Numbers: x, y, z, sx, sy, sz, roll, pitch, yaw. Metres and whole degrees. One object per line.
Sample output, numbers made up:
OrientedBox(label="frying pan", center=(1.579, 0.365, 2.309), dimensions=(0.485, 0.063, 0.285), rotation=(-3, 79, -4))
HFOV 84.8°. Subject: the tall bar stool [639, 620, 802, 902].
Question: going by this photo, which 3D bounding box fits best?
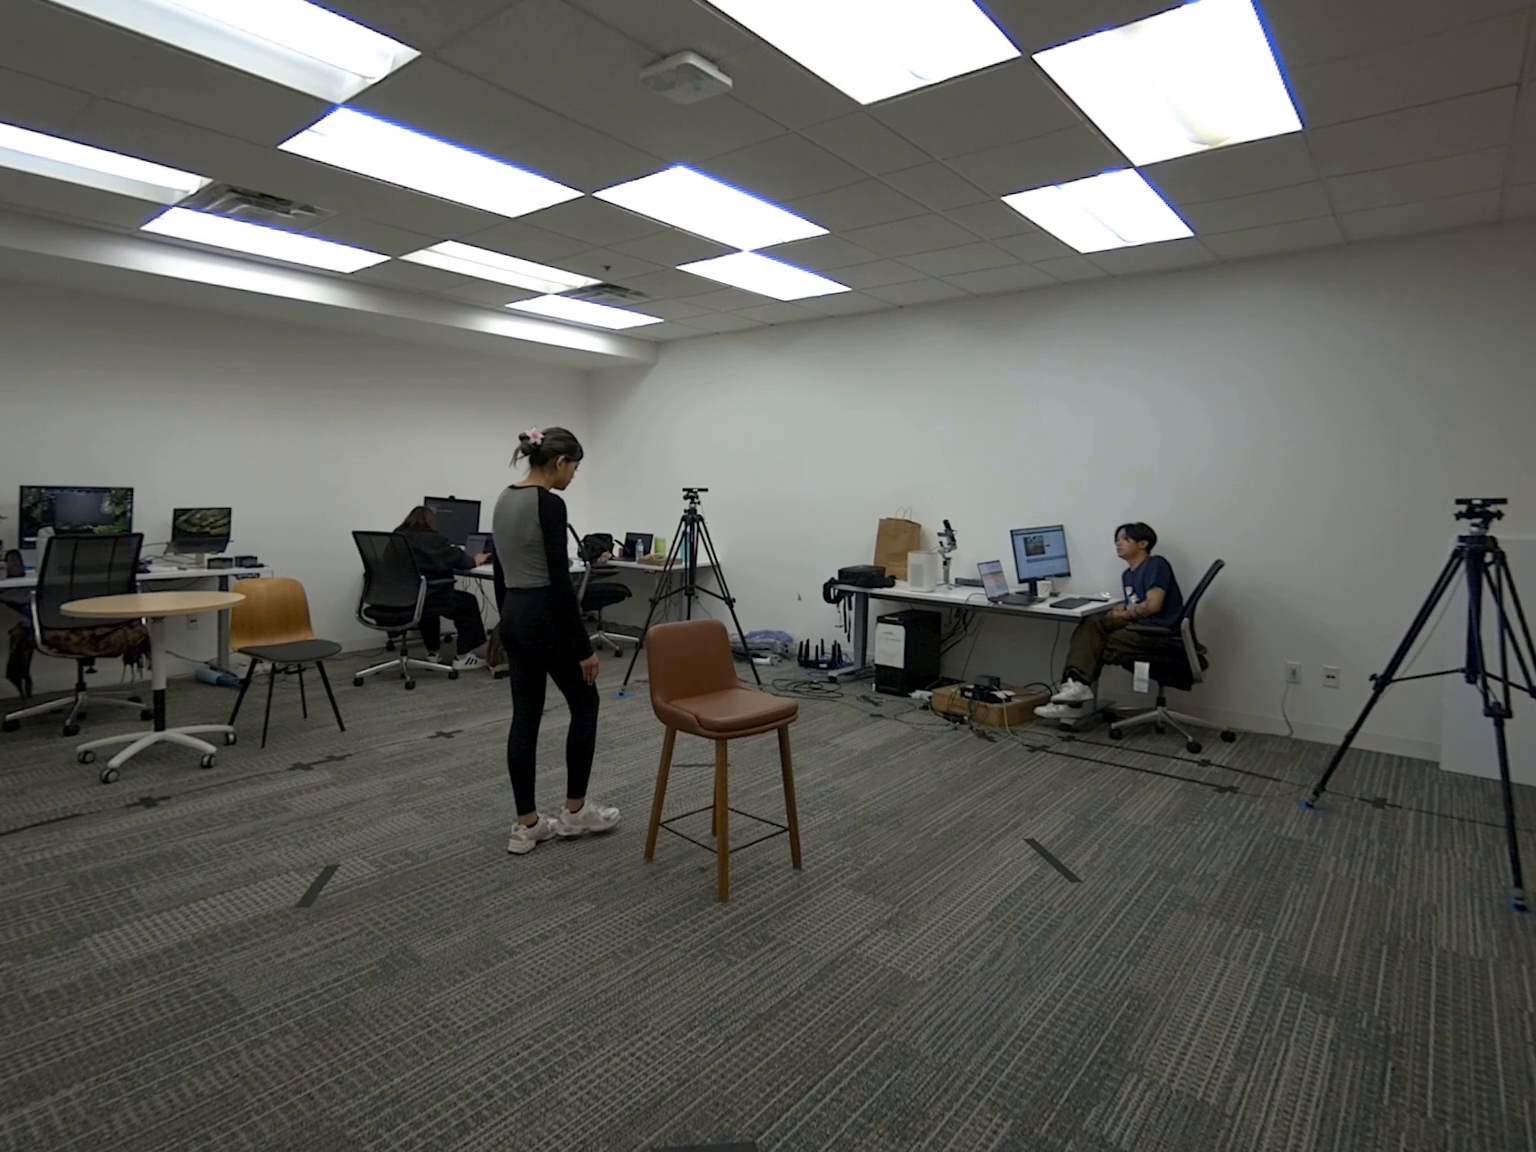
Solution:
OrientedBox(label="tall bar stool", center=(-0.181, 0.630, 3.139), dimensions=(0.483, 0.889, 0.442), rotation=(1, 2, 44))
